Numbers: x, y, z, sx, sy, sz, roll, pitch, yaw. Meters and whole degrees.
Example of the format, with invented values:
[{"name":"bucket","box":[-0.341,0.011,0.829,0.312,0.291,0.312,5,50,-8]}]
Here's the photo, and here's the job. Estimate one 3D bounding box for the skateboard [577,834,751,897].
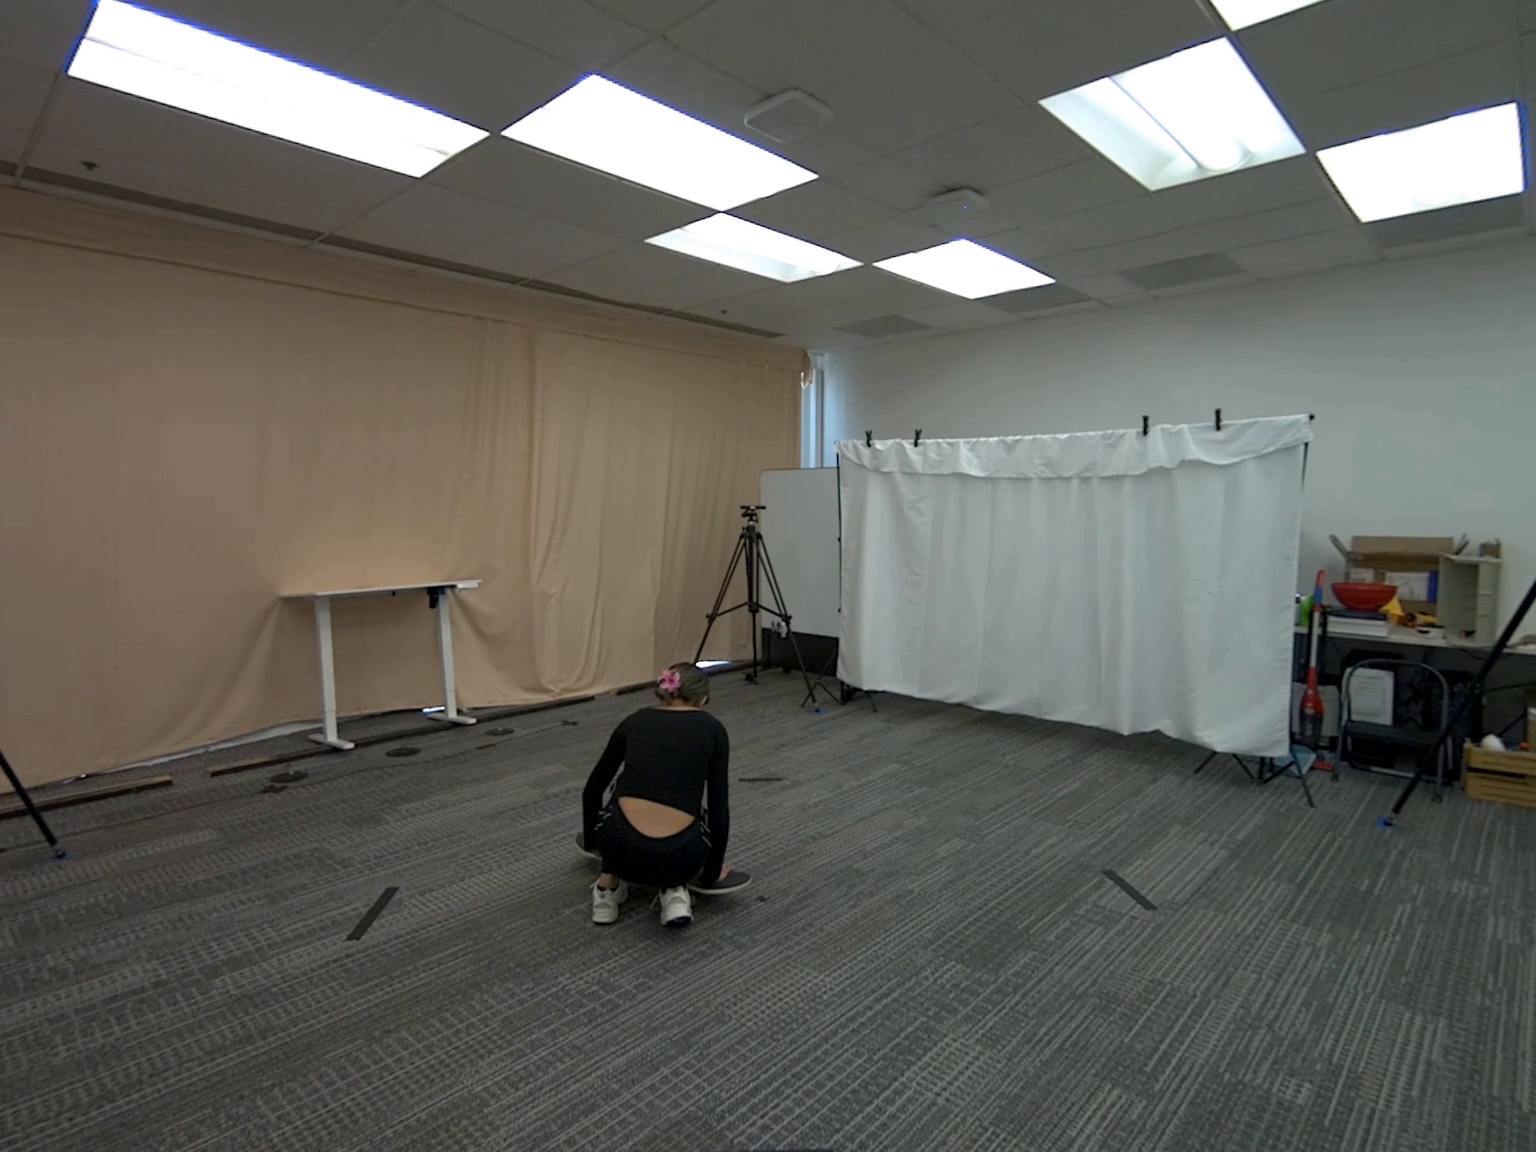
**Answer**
[{"name":"skateboard","box":[-0.394,1.079,3.097,0.809,0.110,0.188,2,5,34]}]
